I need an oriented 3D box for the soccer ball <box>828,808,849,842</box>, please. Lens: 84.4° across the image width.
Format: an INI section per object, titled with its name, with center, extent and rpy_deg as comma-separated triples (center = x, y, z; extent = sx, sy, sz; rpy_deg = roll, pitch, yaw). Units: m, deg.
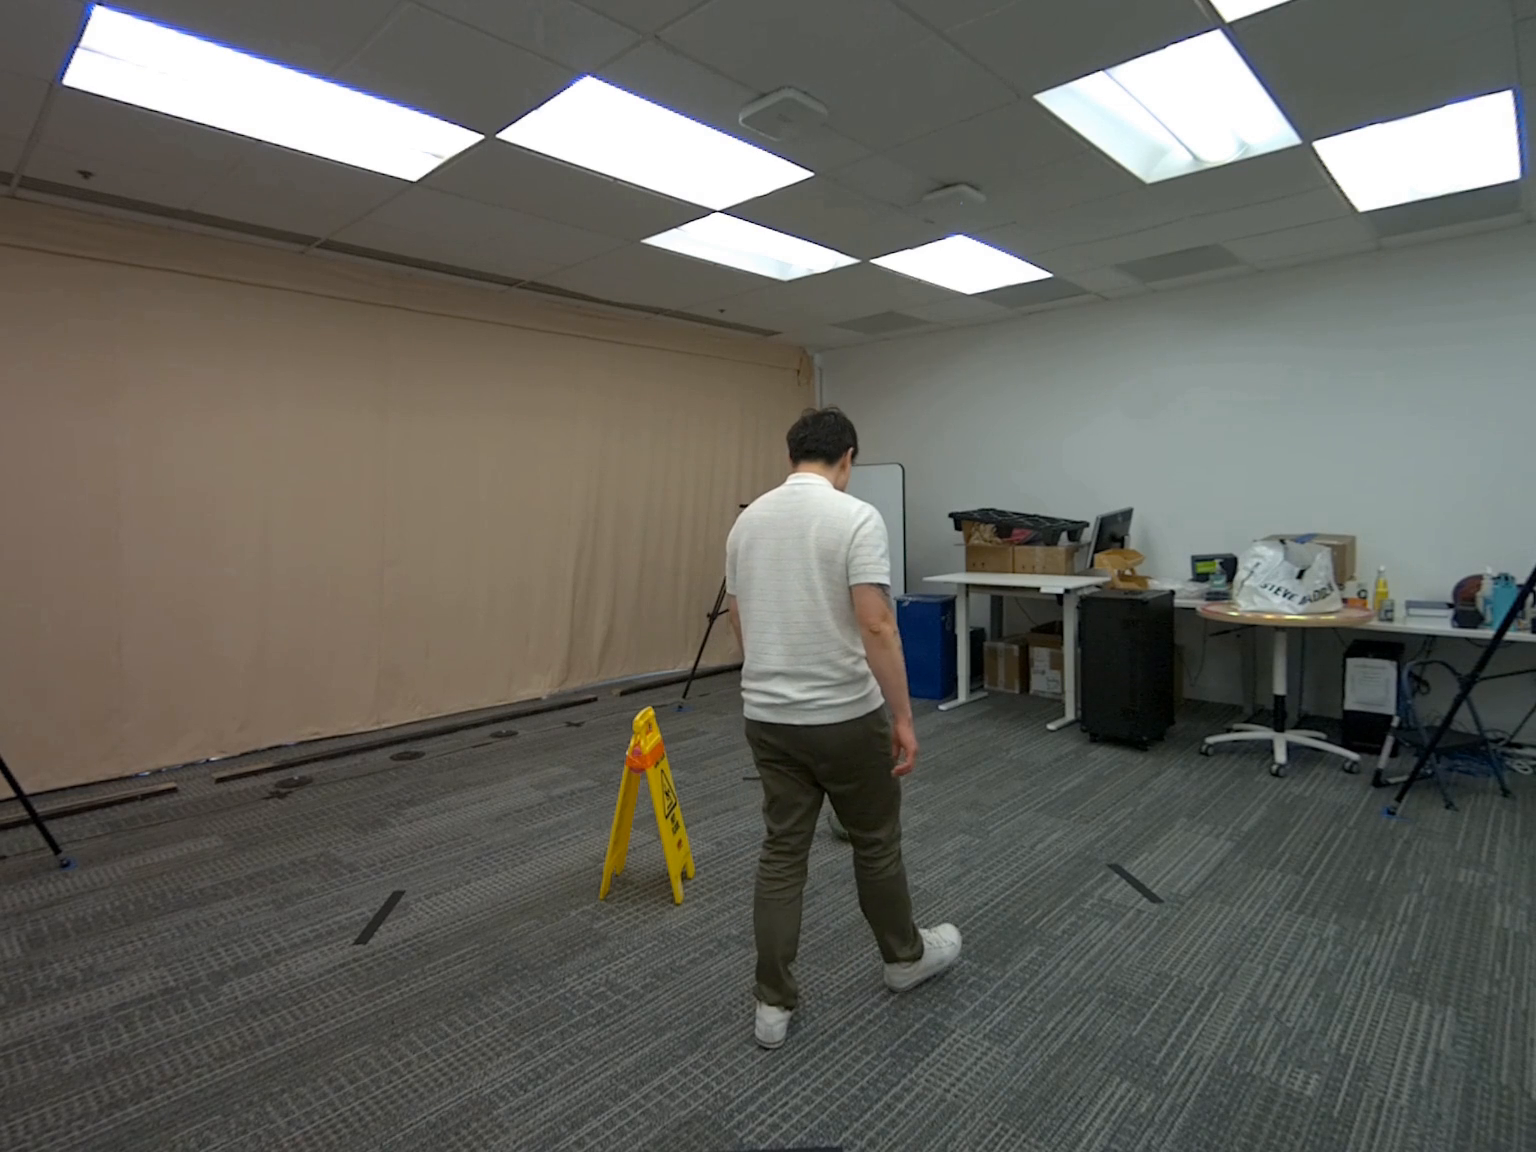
[soccer ball]
center = 0.342, 0.995, 3.486
extent = 0.187, 0.187, 0.188
rpy_deg = -1, 4, -2
